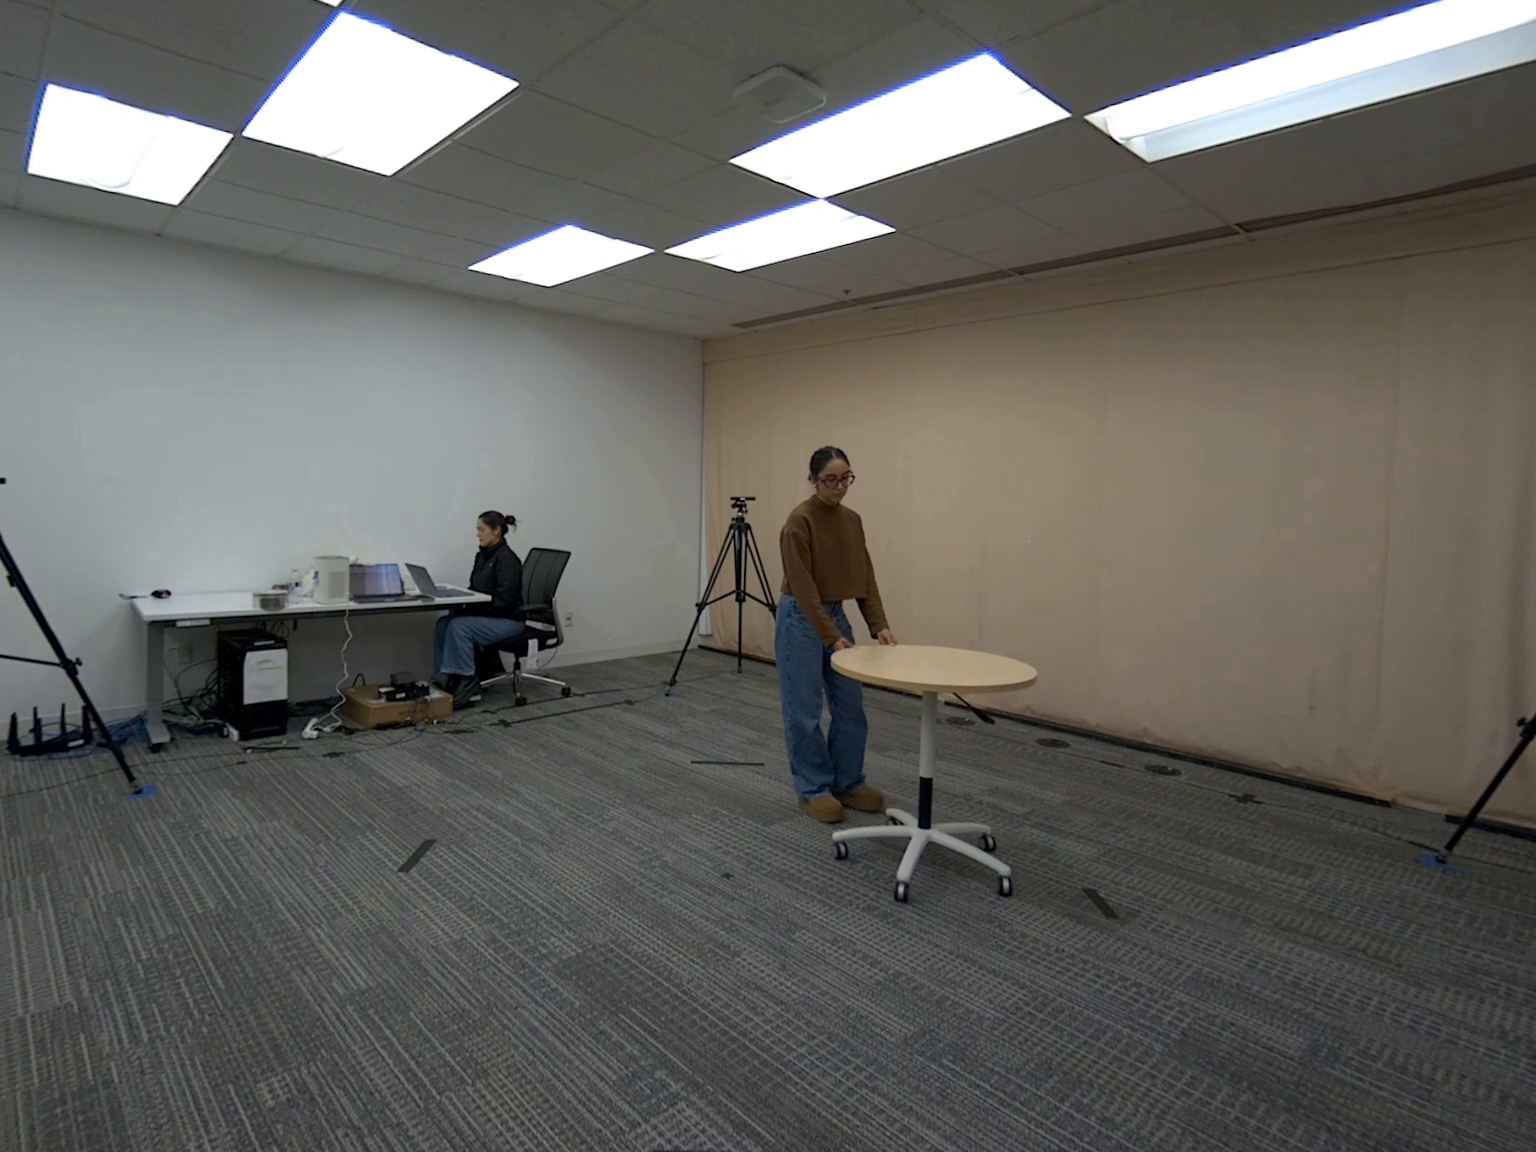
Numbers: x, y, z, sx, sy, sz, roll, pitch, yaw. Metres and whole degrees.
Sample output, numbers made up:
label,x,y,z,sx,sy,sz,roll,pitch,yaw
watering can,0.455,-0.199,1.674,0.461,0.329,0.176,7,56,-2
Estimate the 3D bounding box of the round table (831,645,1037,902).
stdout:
label,x,y,z,sx,sy,sz,roll,pitch,yaw
round table,0.602,0.723,3.243,0.763,0.792,0.766,2,4,-2
